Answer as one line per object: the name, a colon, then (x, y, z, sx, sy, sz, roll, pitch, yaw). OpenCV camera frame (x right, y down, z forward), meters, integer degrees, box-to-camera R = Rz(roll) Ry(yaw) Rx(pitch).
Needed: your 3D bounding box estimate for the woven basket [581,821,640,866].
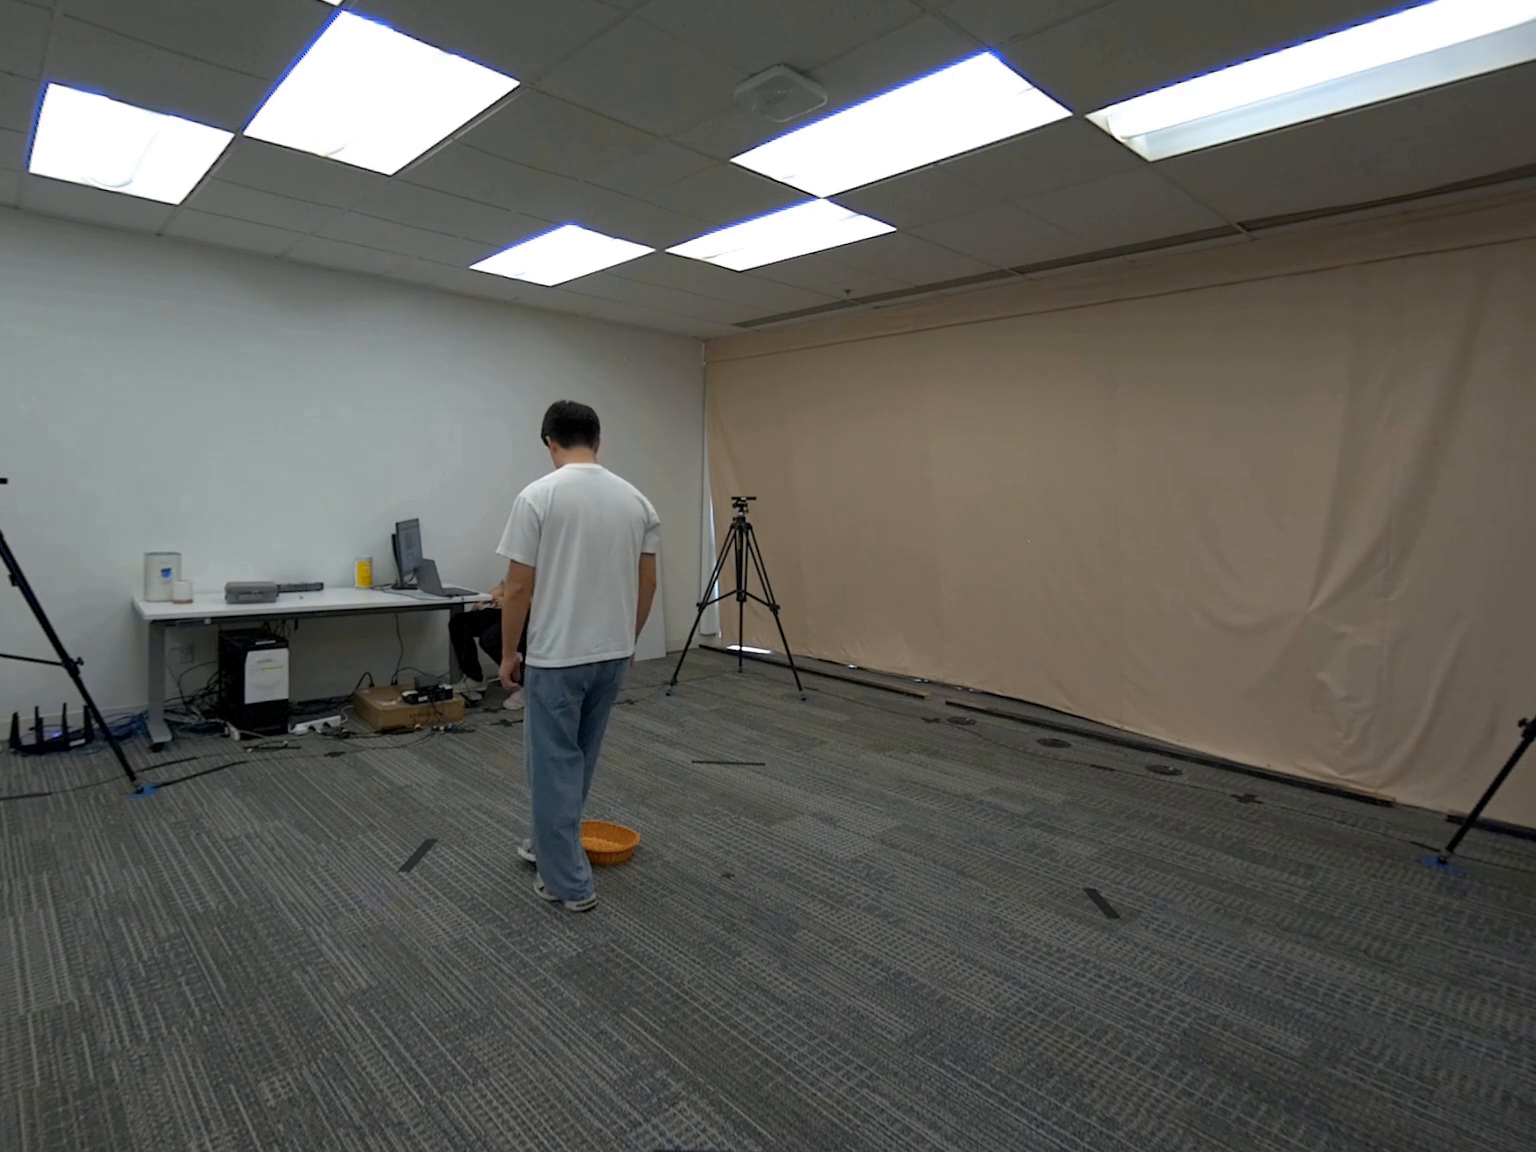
woven basket: (-0.668, 1.040, 3.270, 0.358, 0.073, 0.247, 5, 6, 30)
